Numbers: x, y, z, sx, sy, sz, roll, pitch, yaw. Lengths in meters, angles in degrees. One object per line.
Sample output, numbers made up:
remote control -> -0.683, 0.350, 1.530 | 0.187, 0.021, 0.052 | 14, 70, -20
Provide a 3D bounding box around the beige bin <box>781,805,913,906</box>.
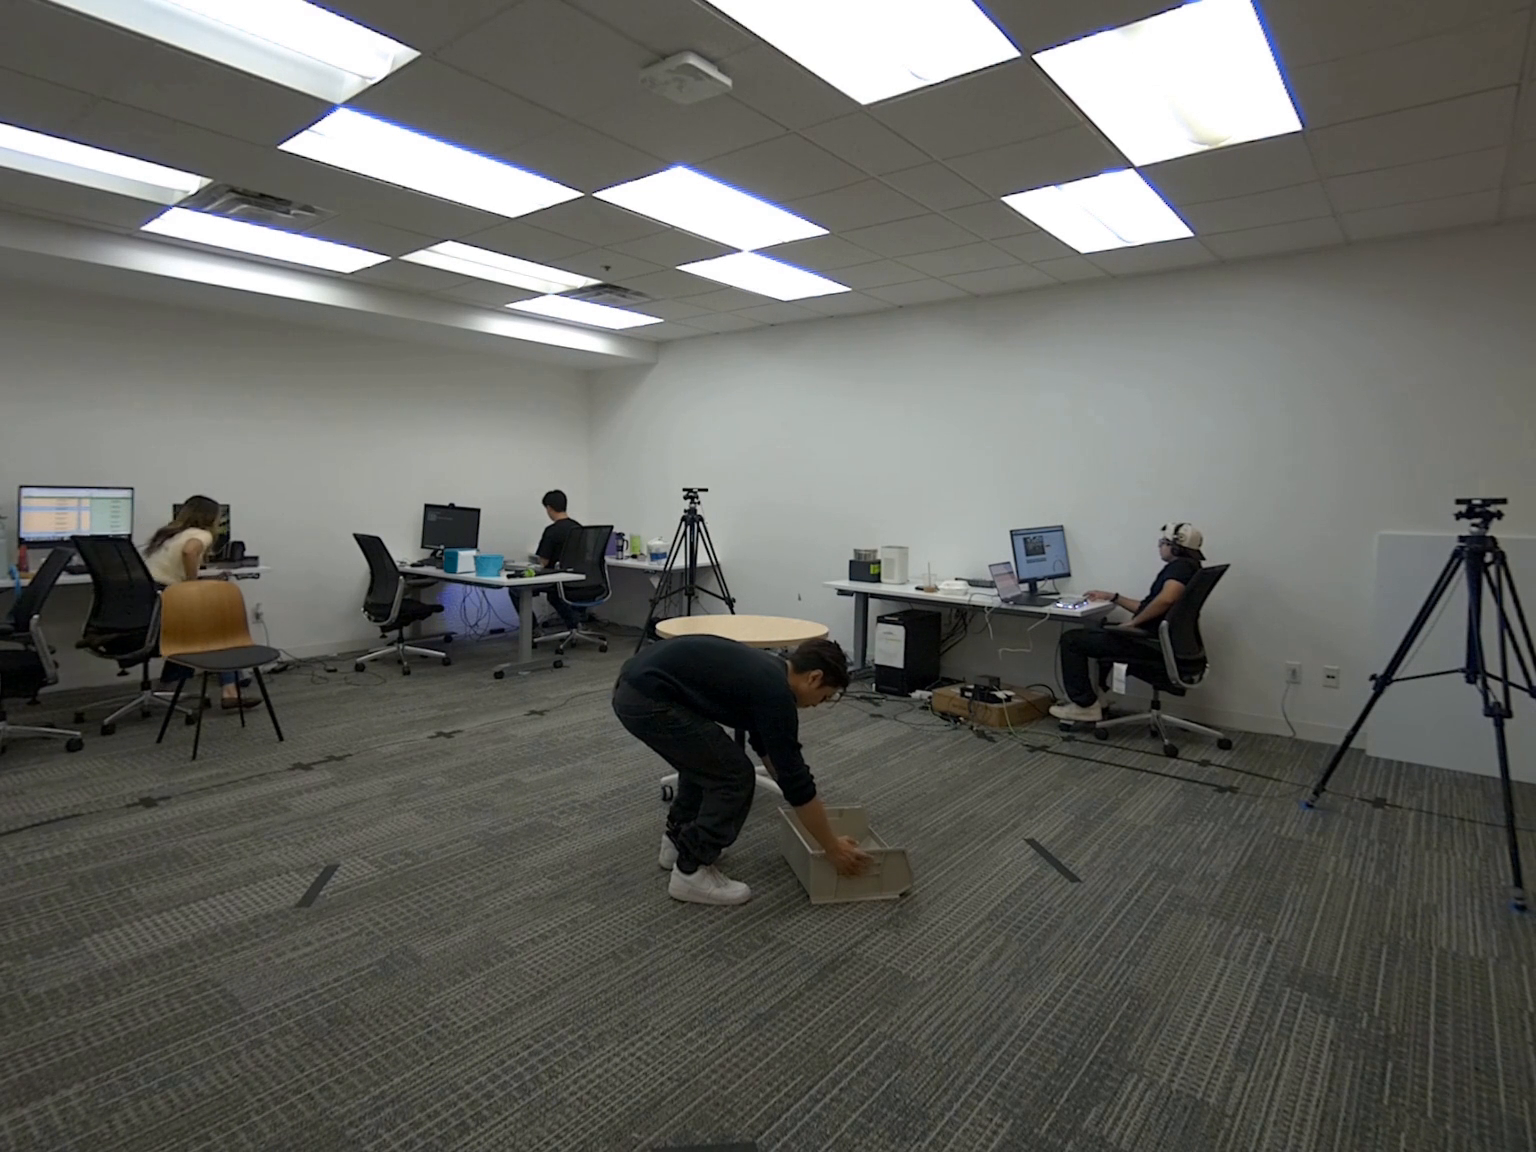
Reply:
beige bin -> 0.261, 0.998, 3.088 | 0.372, 0.188, 0.430 | 0, 6, -13
